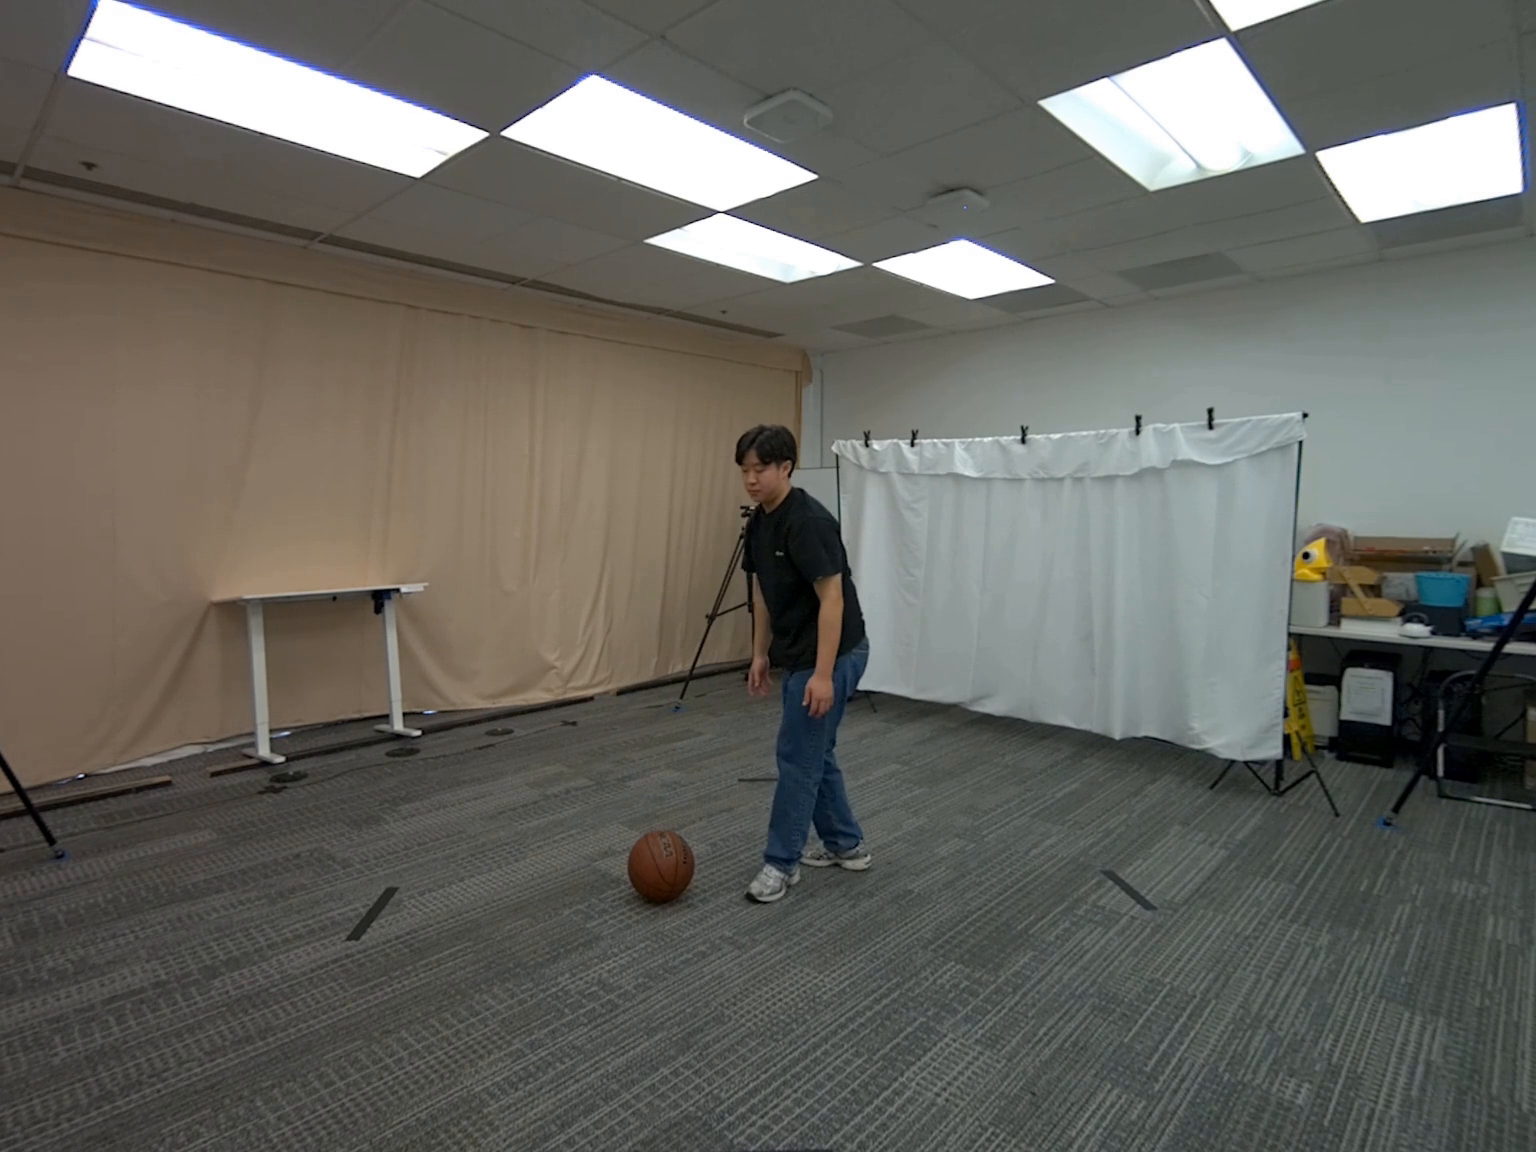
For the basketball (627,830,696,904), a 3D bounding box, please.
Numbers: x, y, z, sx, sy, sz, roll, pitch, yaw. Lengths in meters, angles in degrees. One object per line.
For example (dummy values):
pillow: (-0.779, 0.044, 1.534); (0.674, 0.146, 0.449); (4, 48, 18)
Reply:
basketball: (-0.375, 1.029, 2.990); (0.236, 0.235, 0.237); (0, 4, -2)
